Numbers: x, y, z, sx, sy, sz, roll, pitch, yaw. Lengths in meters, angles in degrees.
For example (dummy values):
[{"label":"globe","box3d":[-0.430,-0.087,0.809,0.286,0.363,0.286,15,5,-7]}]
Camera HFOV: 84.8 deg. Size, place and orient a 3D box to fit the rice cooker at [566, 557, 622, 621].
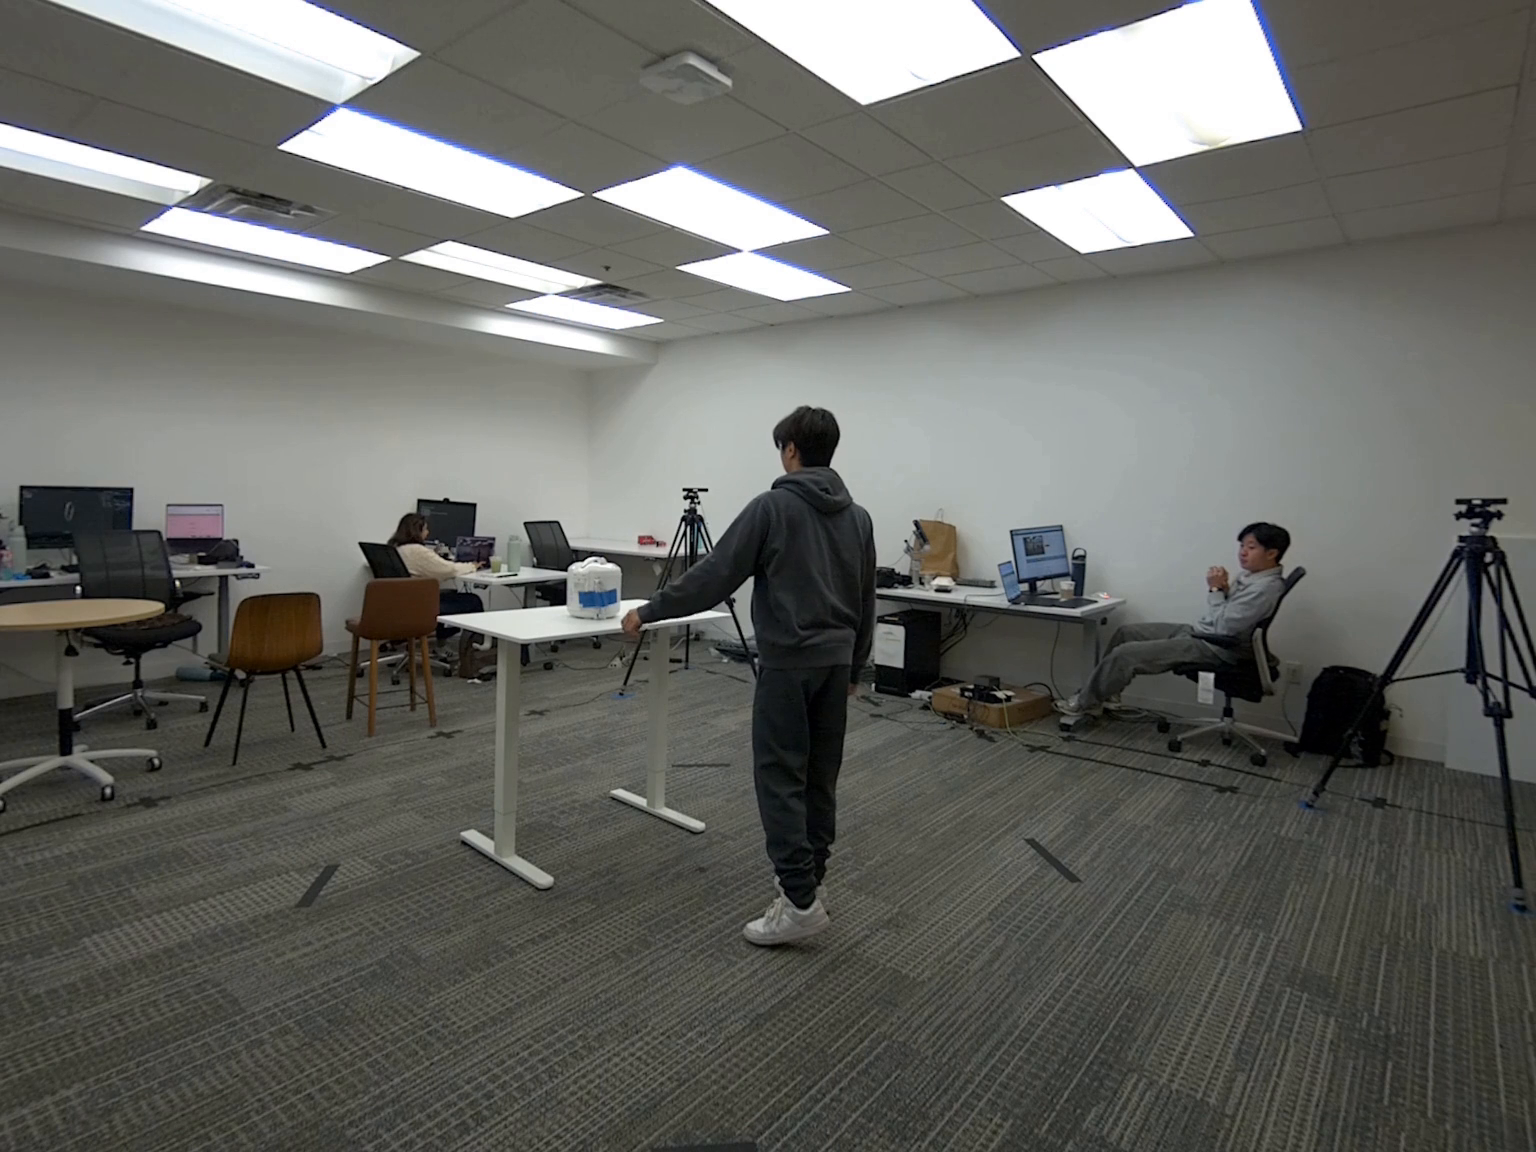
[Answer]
[{"label":"rice cooker","box3d":[-0.699,0.041,3.343,0.223,0.232,0.216,5,4,22]}]
